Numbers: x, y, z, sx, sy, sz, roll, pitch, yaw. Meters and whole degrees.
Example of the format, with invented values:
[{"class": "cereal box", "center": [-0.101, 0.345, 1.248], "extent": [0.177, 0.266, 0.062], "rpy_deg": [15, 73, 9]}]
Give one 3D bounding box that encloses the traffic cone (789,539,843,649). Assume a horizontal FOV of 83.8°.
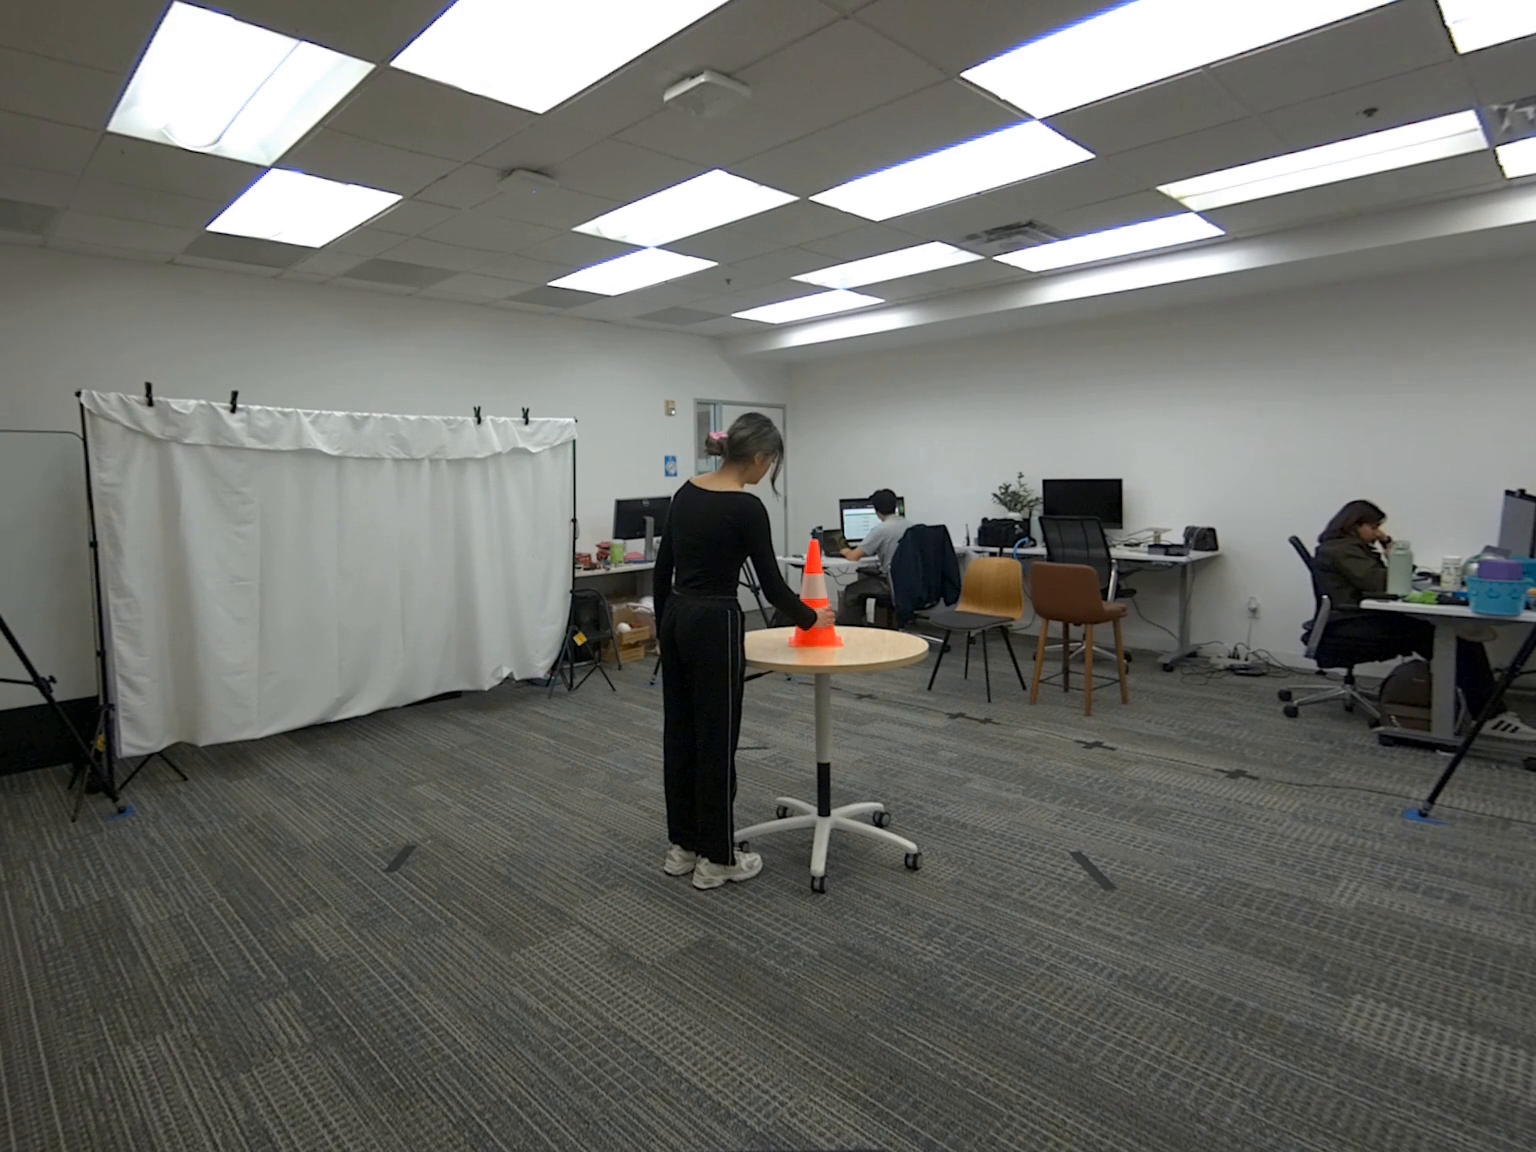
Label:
[{"class": "traffic cone", "center": [0.178, 0.058, 3.179], "extent": [0.204, 0.383, 0.204], "rpy_deg": [0, 3, 4]}]
